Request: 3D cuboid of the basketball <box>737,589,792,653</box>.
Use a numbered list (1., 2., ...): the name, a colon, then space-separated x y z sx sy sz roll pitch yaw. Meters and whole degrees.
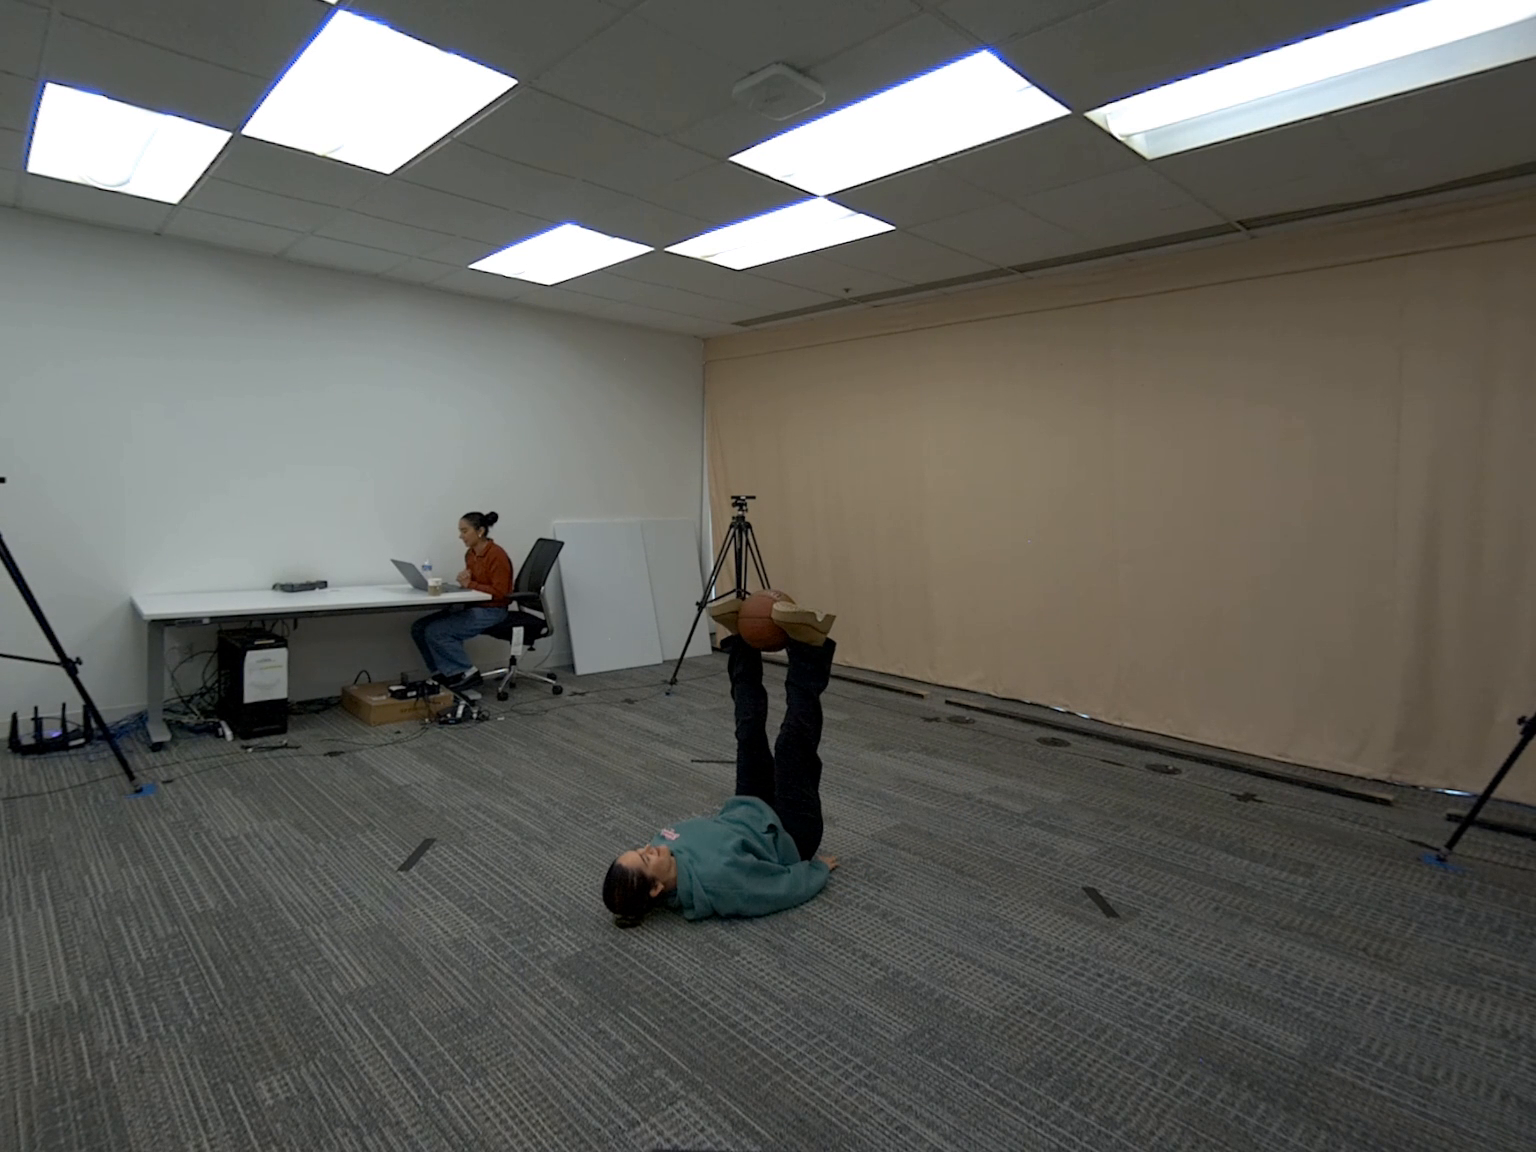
1. basketball: 0.004 0.163 3.143 0.236 0.235 0.237 1 5 -1
